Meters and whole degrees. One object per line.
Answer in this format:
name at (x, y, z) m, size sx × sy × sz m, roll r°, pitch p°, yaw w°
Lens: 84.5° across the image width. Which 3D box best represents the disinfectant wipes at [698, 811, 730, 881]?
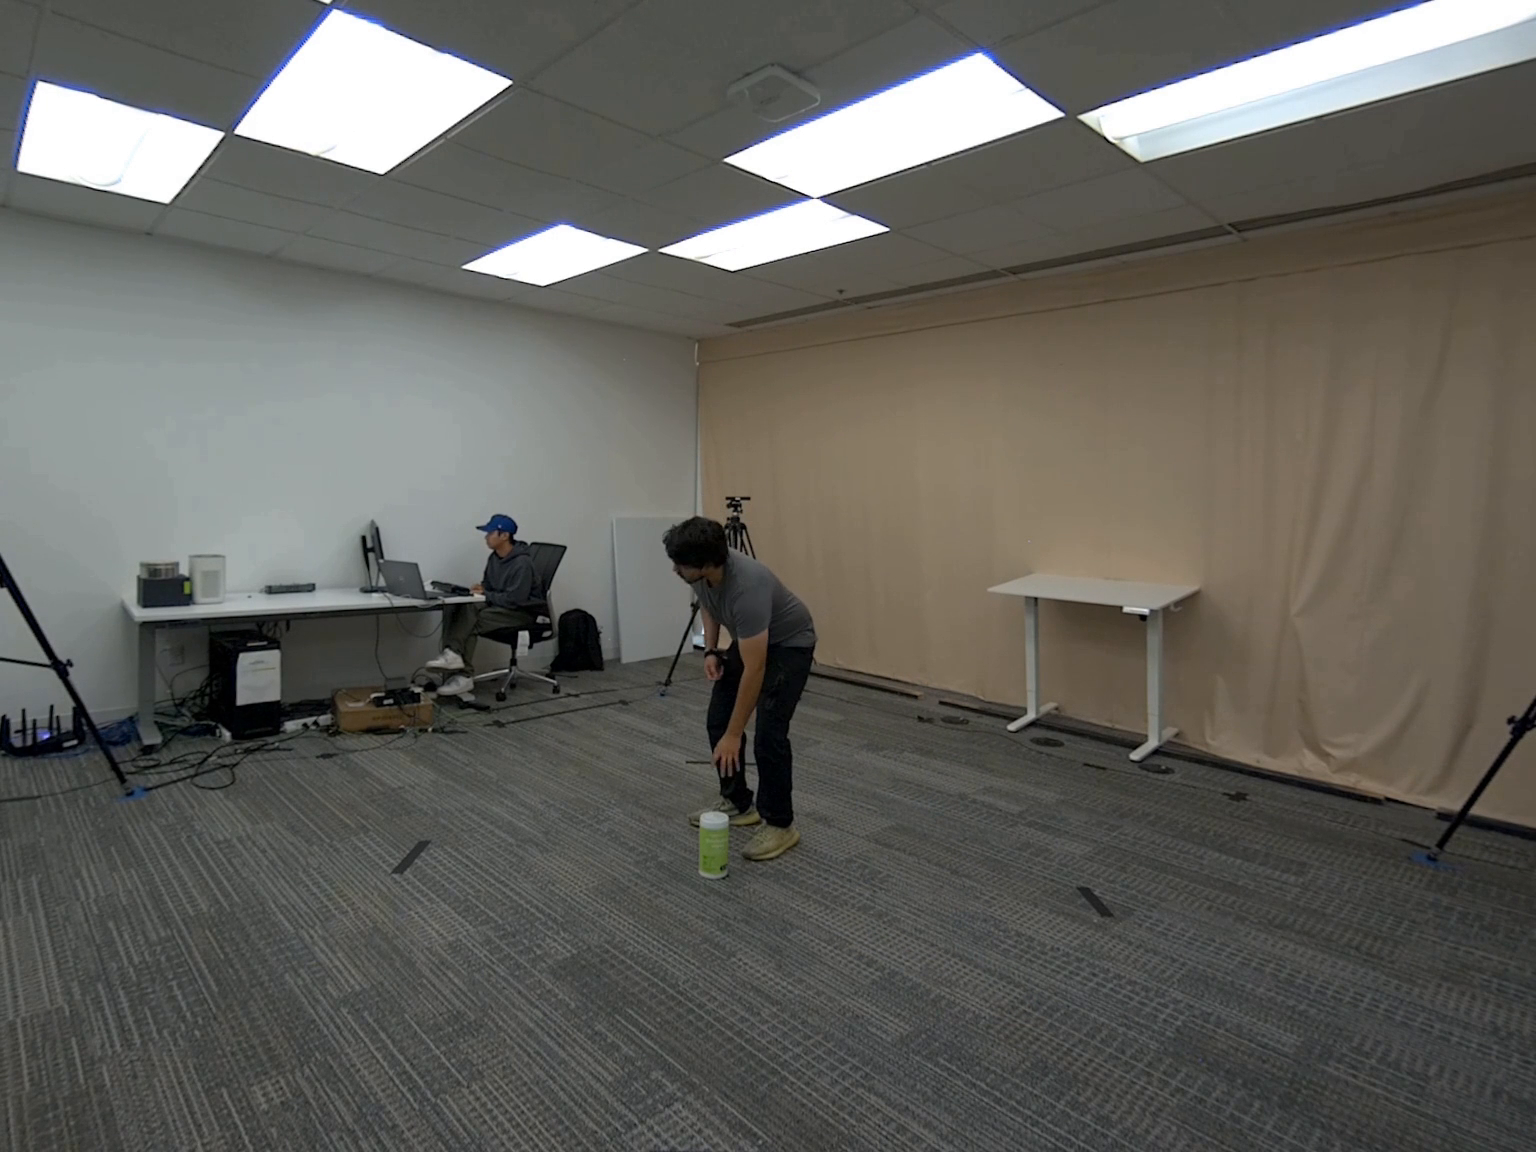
disinfectant wipes at (-0.215, 0.997, 3.116) m, size 0.118 × 0.216 × 0.118 m, roll 1°, pitch 5°, yaw -1°
